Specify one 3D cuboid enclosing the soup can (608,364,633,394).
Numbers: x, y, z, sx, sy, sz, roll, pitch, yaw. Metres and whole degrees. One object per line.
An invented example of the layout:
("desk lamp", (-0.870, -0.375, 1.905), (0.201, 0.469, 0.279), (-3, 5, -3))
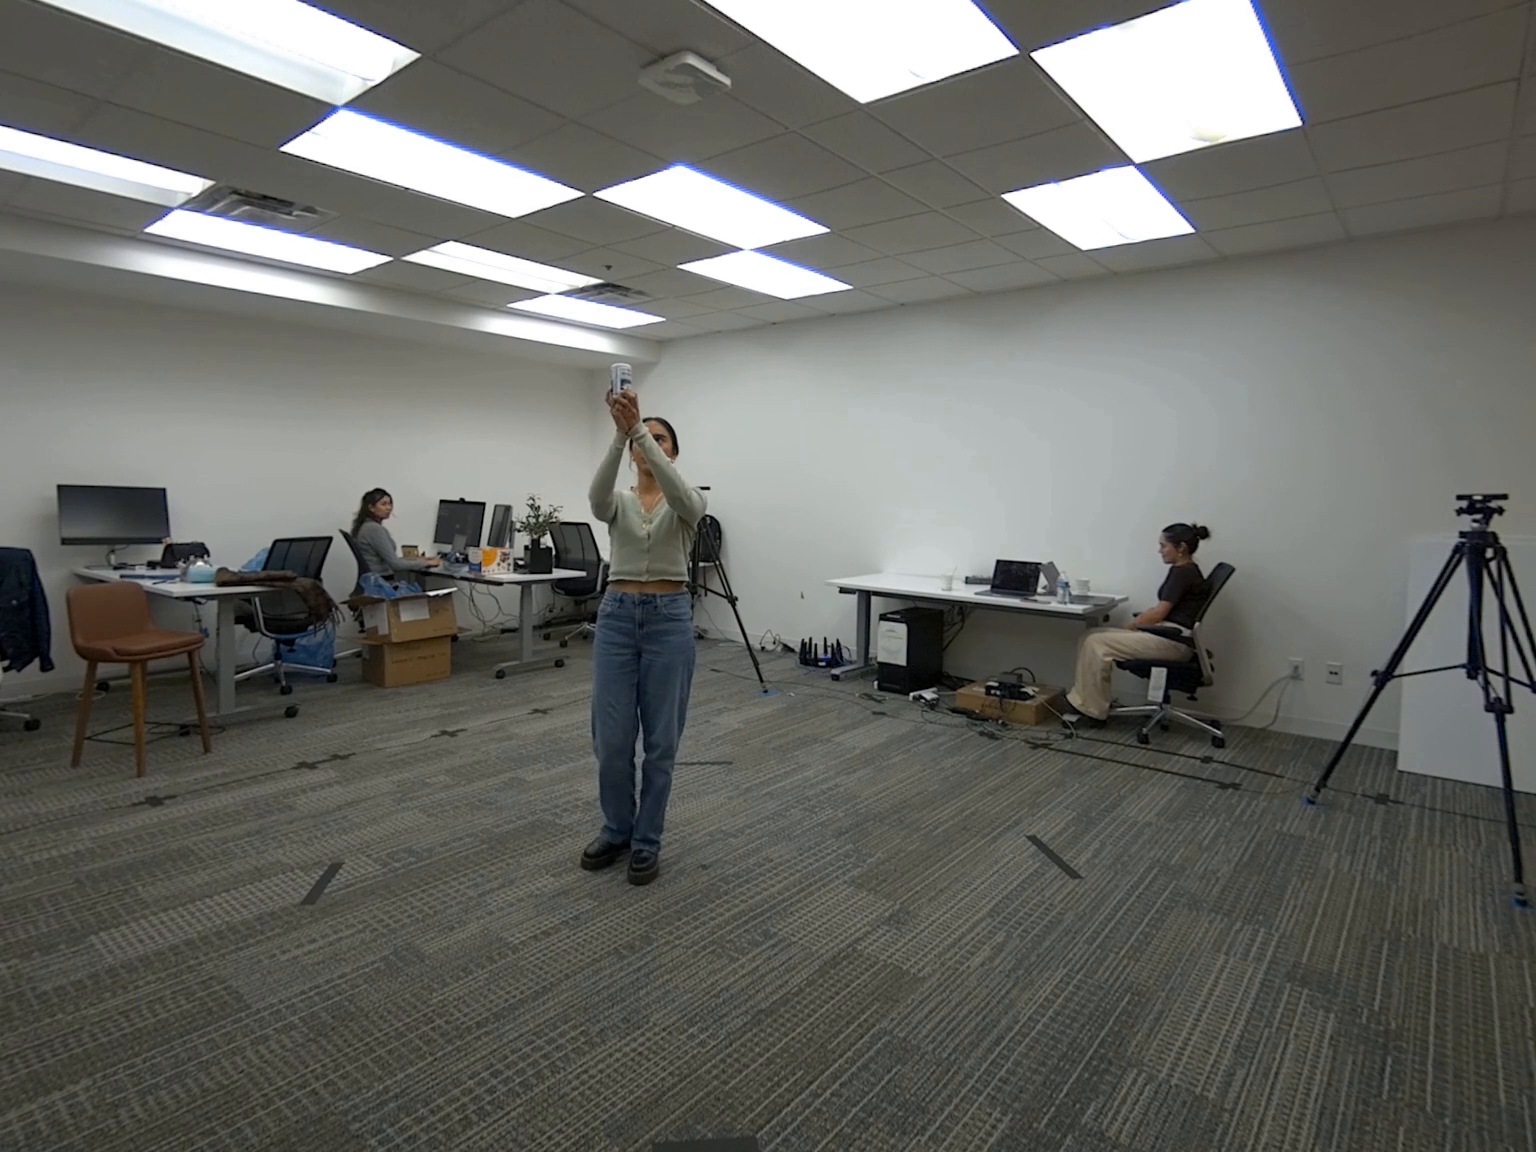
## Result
("soup can", (-0.489, -0.631, 2.789), (0.067, 0.122, 0.067), (-4, -5, -2))
